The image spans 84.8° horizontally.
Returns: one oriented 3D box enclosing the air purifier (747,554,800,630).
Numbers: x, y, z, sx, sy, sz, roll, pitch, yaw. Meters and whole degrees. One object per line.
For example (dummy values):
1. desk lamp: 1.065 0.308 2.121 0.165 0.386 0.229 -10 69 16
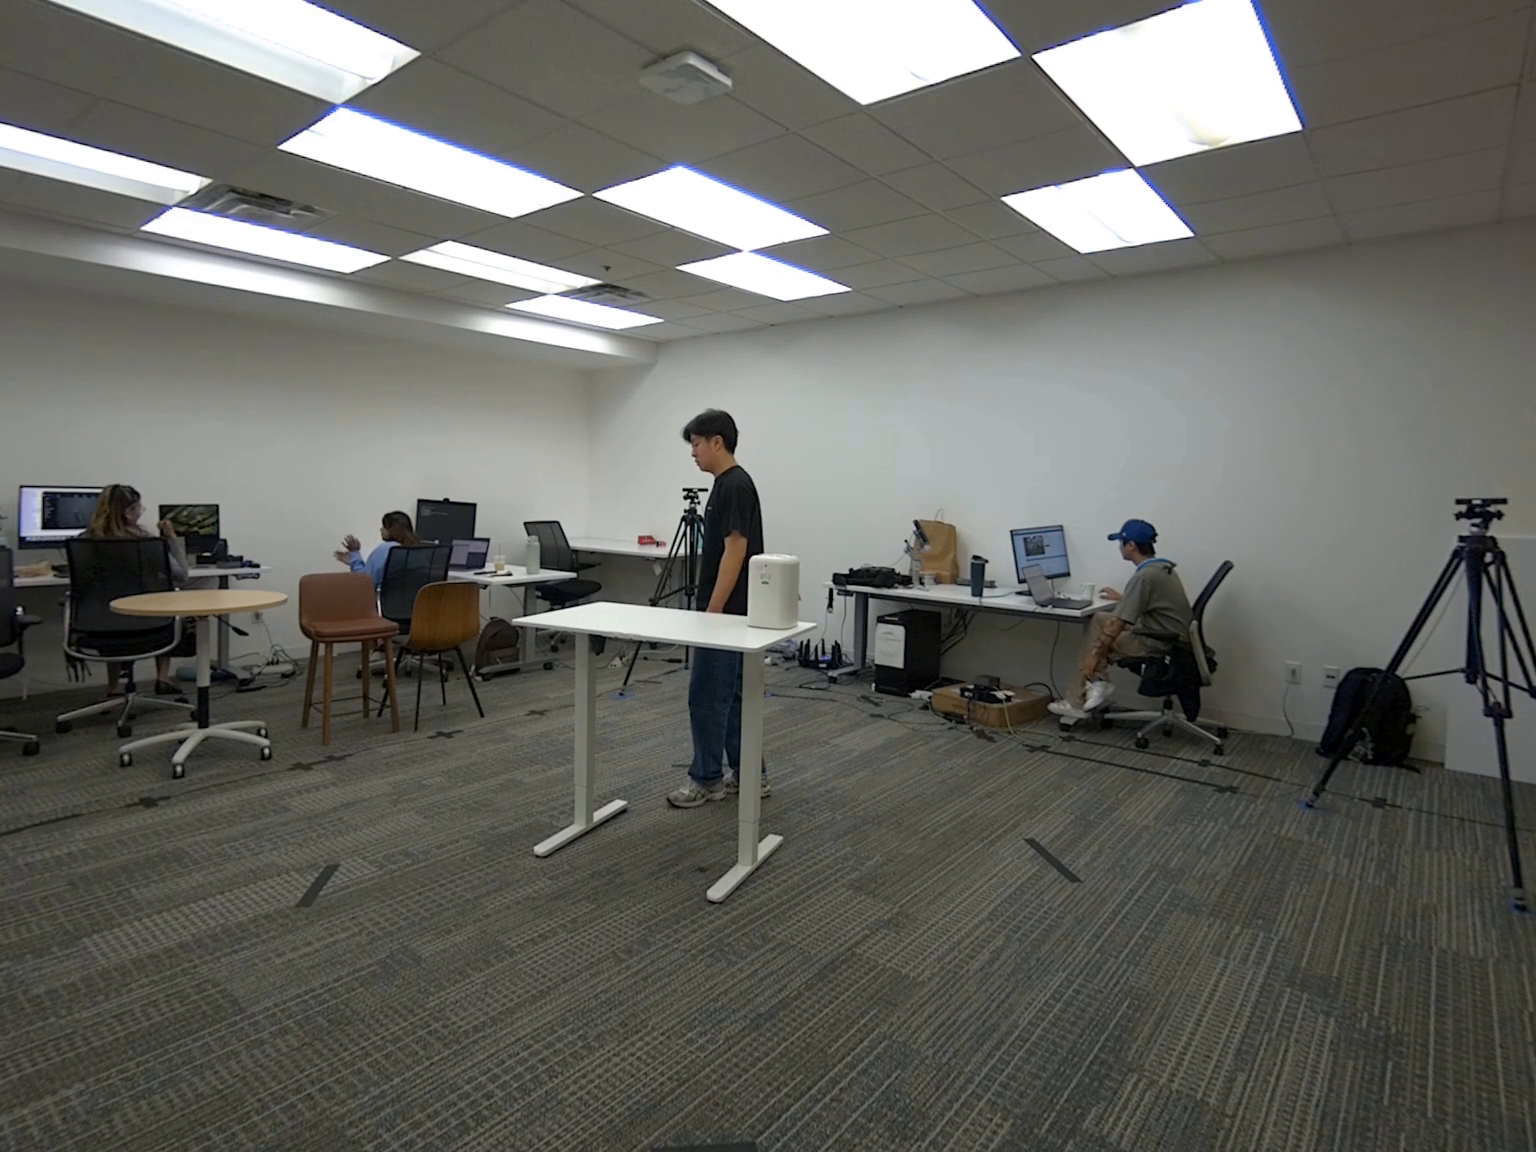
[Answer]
1. air purifier: 0.009 0.052 3.192 0.175 0.265 0.168 3 3 24
